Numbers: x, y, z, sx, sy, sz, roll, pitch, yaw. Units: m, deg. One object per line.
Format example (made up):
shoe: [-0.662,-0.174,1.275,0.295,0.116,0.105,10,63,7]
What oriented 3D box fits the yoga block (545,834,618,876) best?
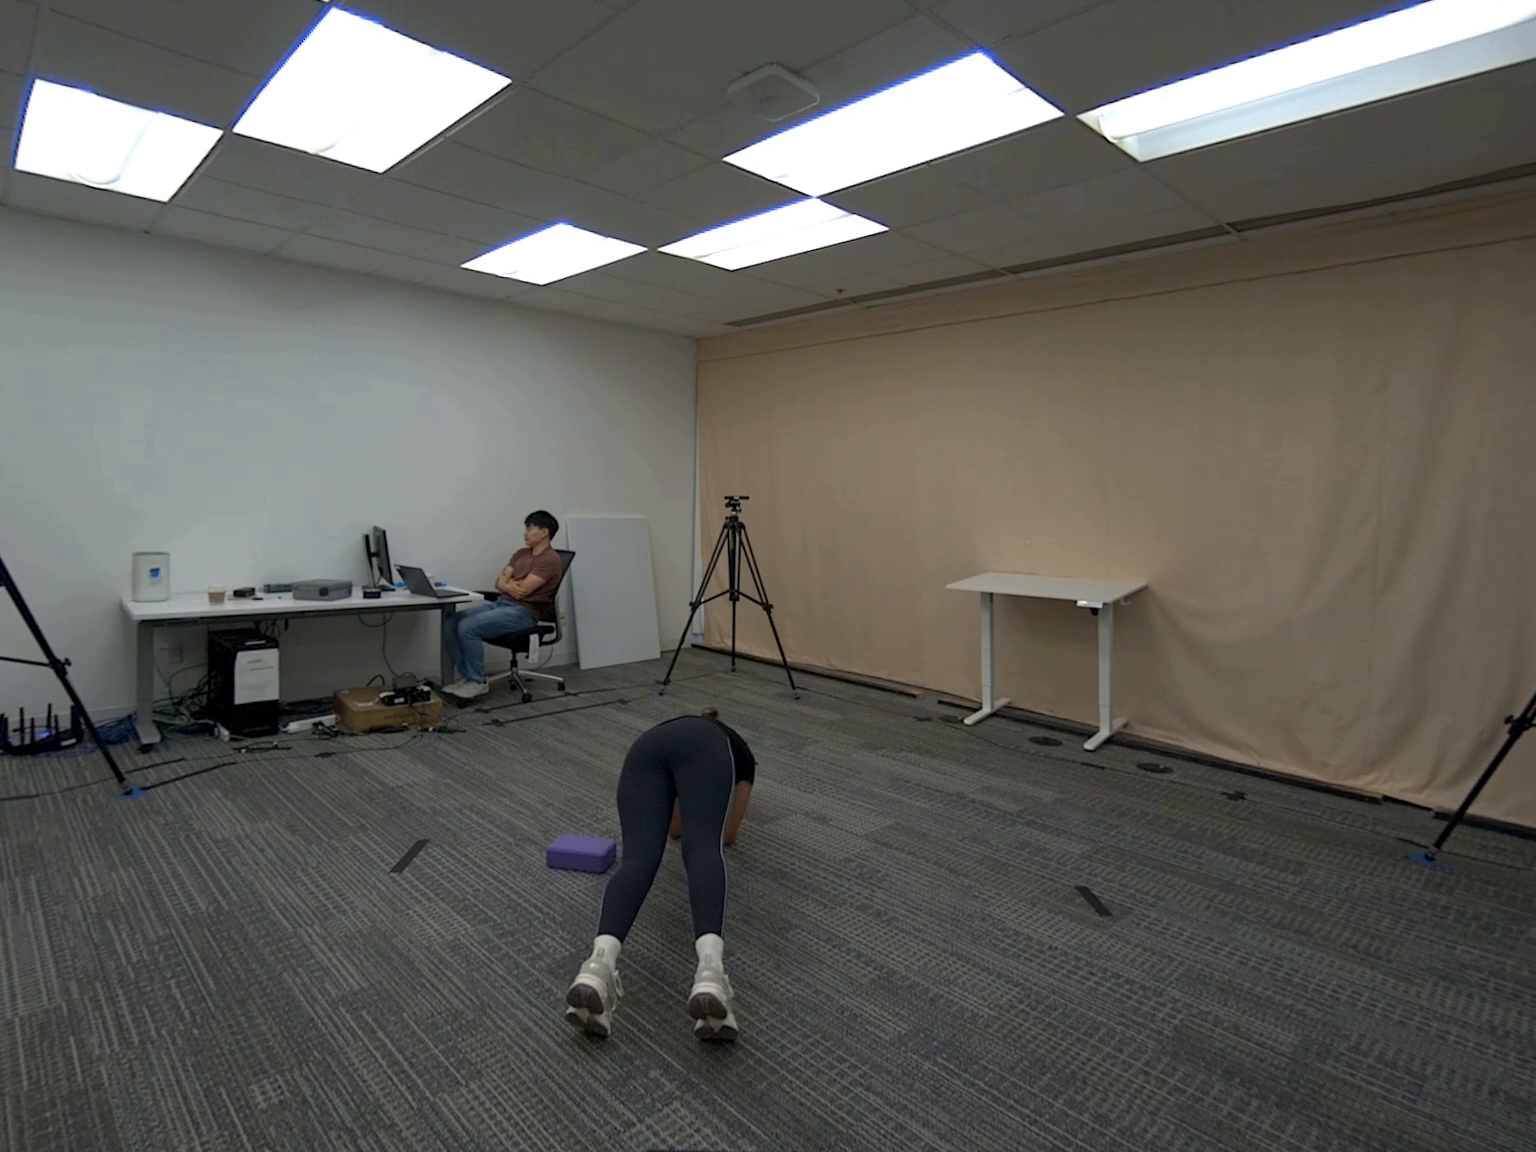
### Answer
yoga block: [-0.709,1.044,3.171,0.232,0.076,0.148,3,6,13]
